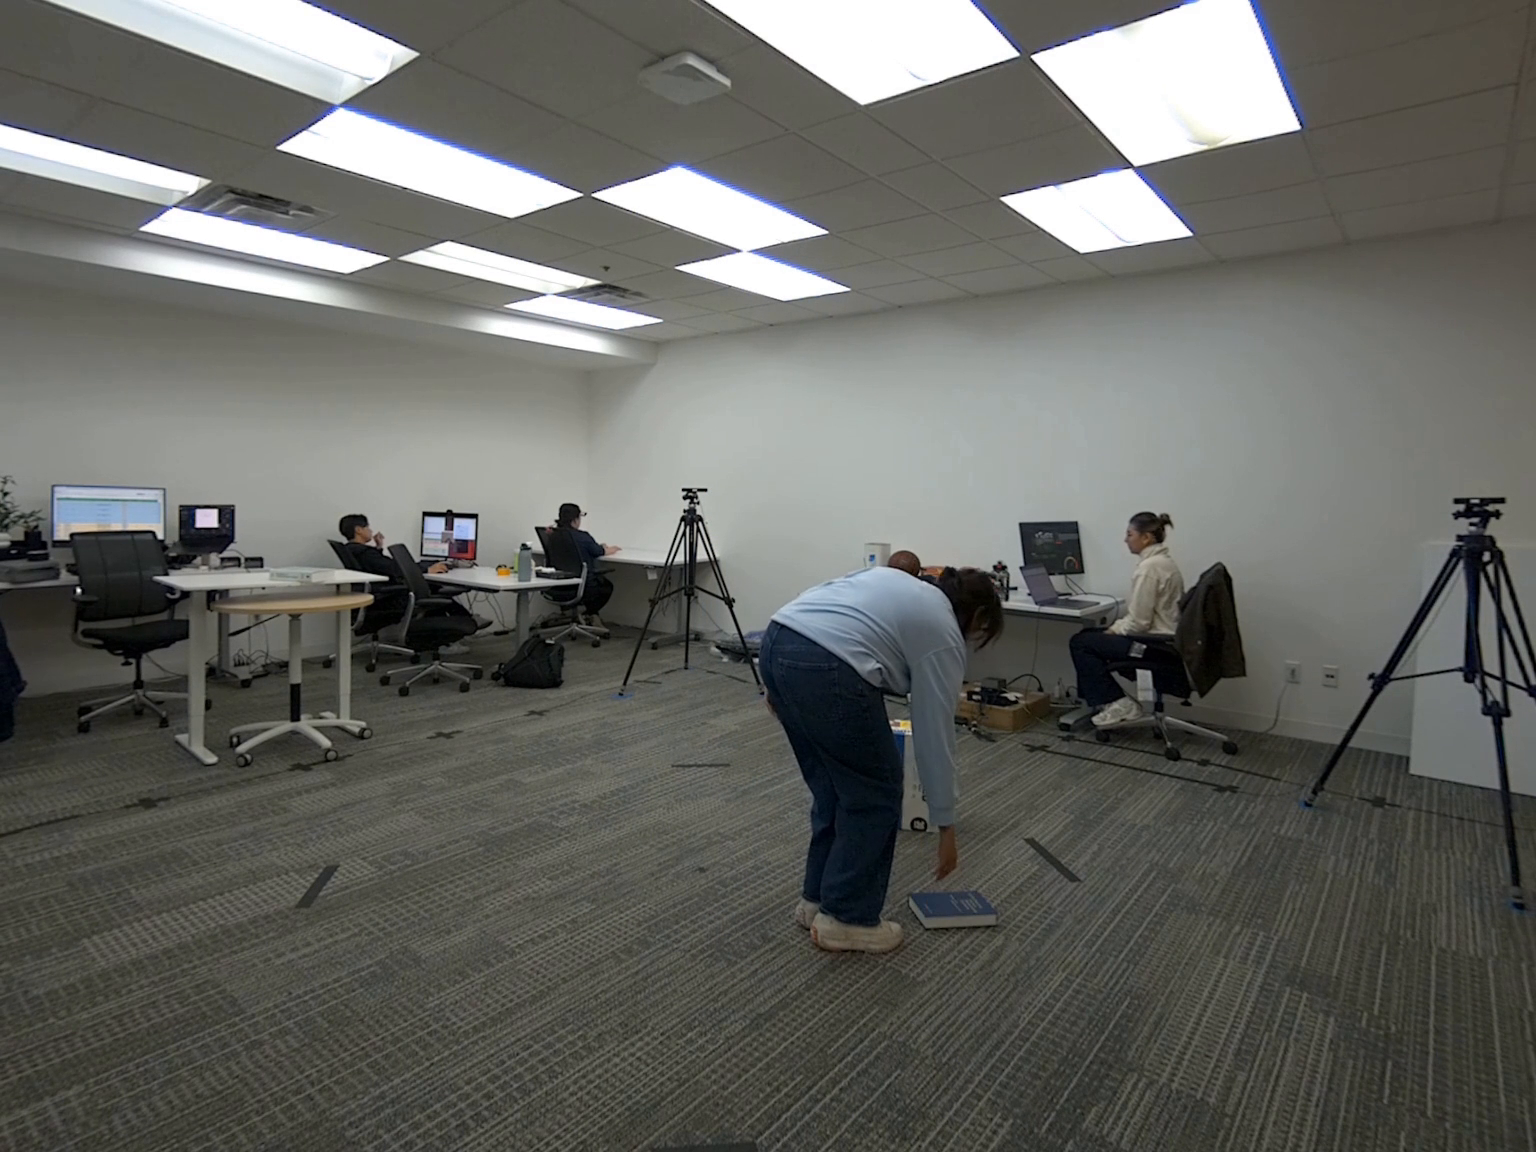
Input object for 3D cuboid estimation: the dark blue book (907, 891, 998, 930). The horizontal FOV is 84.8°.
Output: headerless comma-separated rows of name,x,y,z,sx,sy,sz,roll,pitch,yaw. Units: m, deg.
dark blue book,0.603,1.099,2.797,0.243,0.045,0.165,1,6,-9
